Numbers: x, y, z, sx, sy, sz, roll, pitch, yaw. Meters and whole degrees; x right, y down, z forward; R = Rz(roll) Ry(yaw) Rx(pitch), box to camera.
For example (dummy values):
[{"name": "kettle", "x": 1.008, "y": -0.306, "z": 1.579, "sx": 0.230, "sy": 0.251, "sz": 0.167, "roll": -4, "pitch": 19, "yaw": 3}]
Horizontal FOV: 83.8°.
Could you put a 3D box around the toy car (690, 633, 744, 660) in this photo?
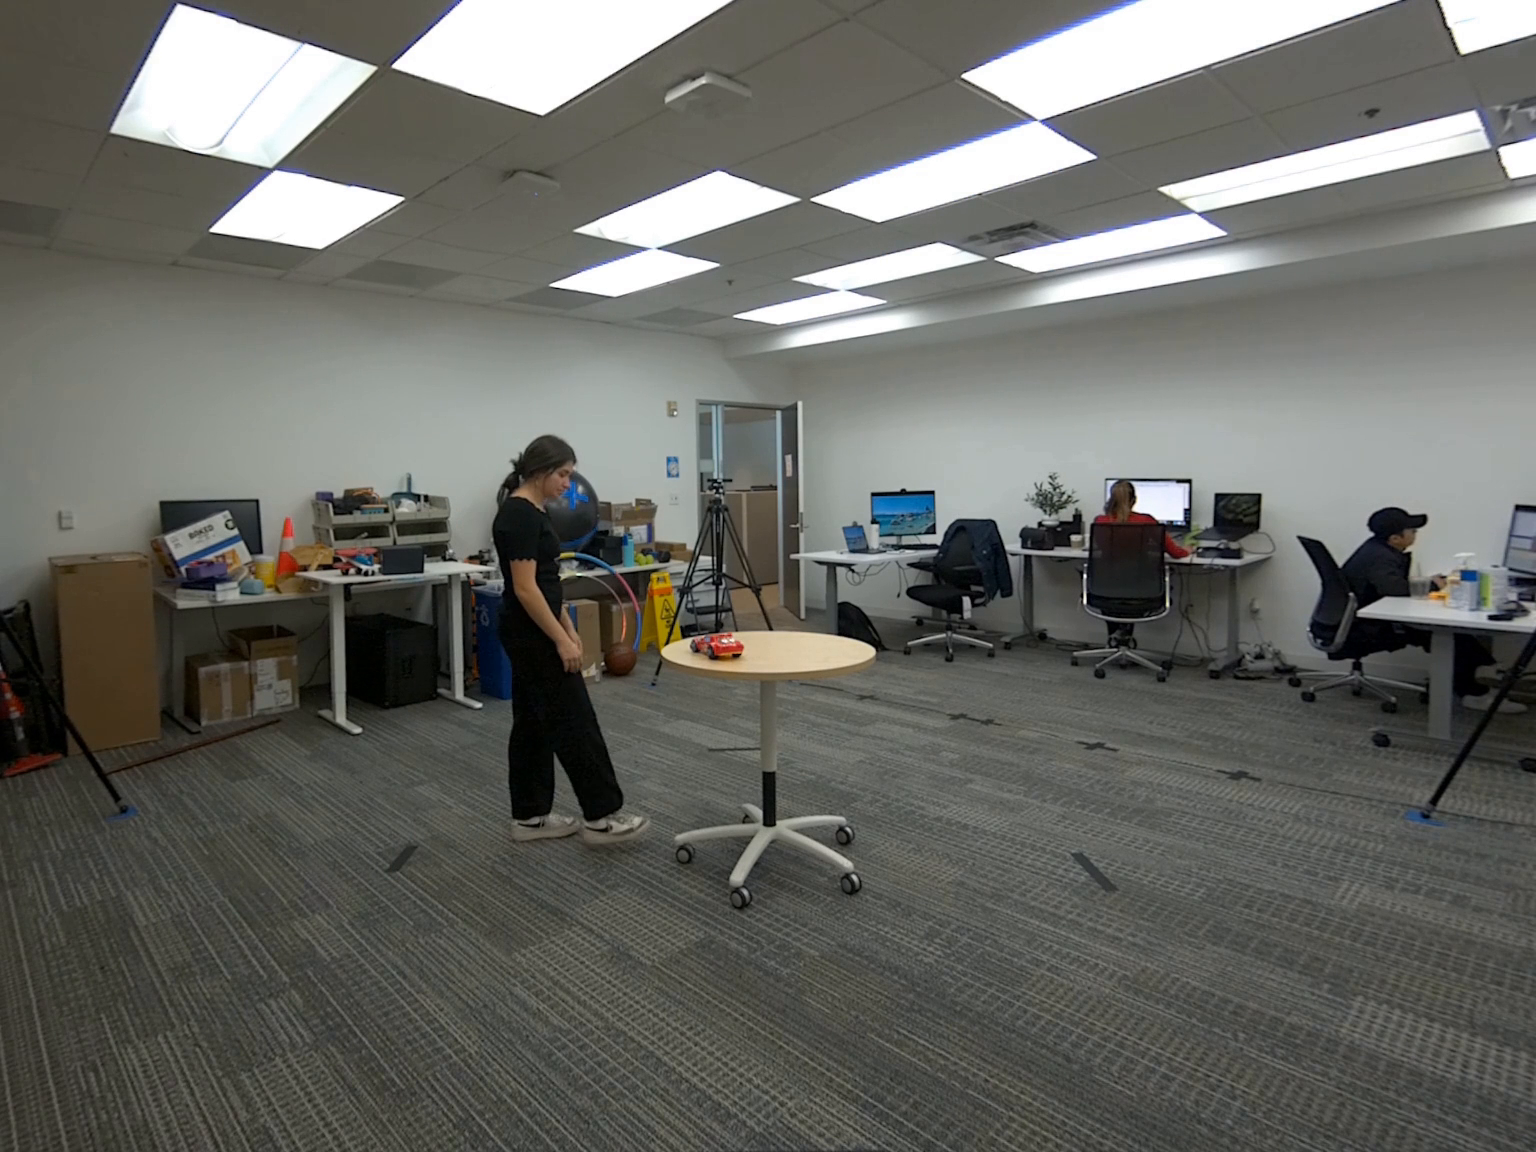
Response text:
[{"name": "toy car", "x": -0.167, "y": 0.243, "z": 2.963, "sx": 0.127, "sy": 0.084, "sz": 0.258, "roll": -3, "pitch": -5, "yaw": -26}]
